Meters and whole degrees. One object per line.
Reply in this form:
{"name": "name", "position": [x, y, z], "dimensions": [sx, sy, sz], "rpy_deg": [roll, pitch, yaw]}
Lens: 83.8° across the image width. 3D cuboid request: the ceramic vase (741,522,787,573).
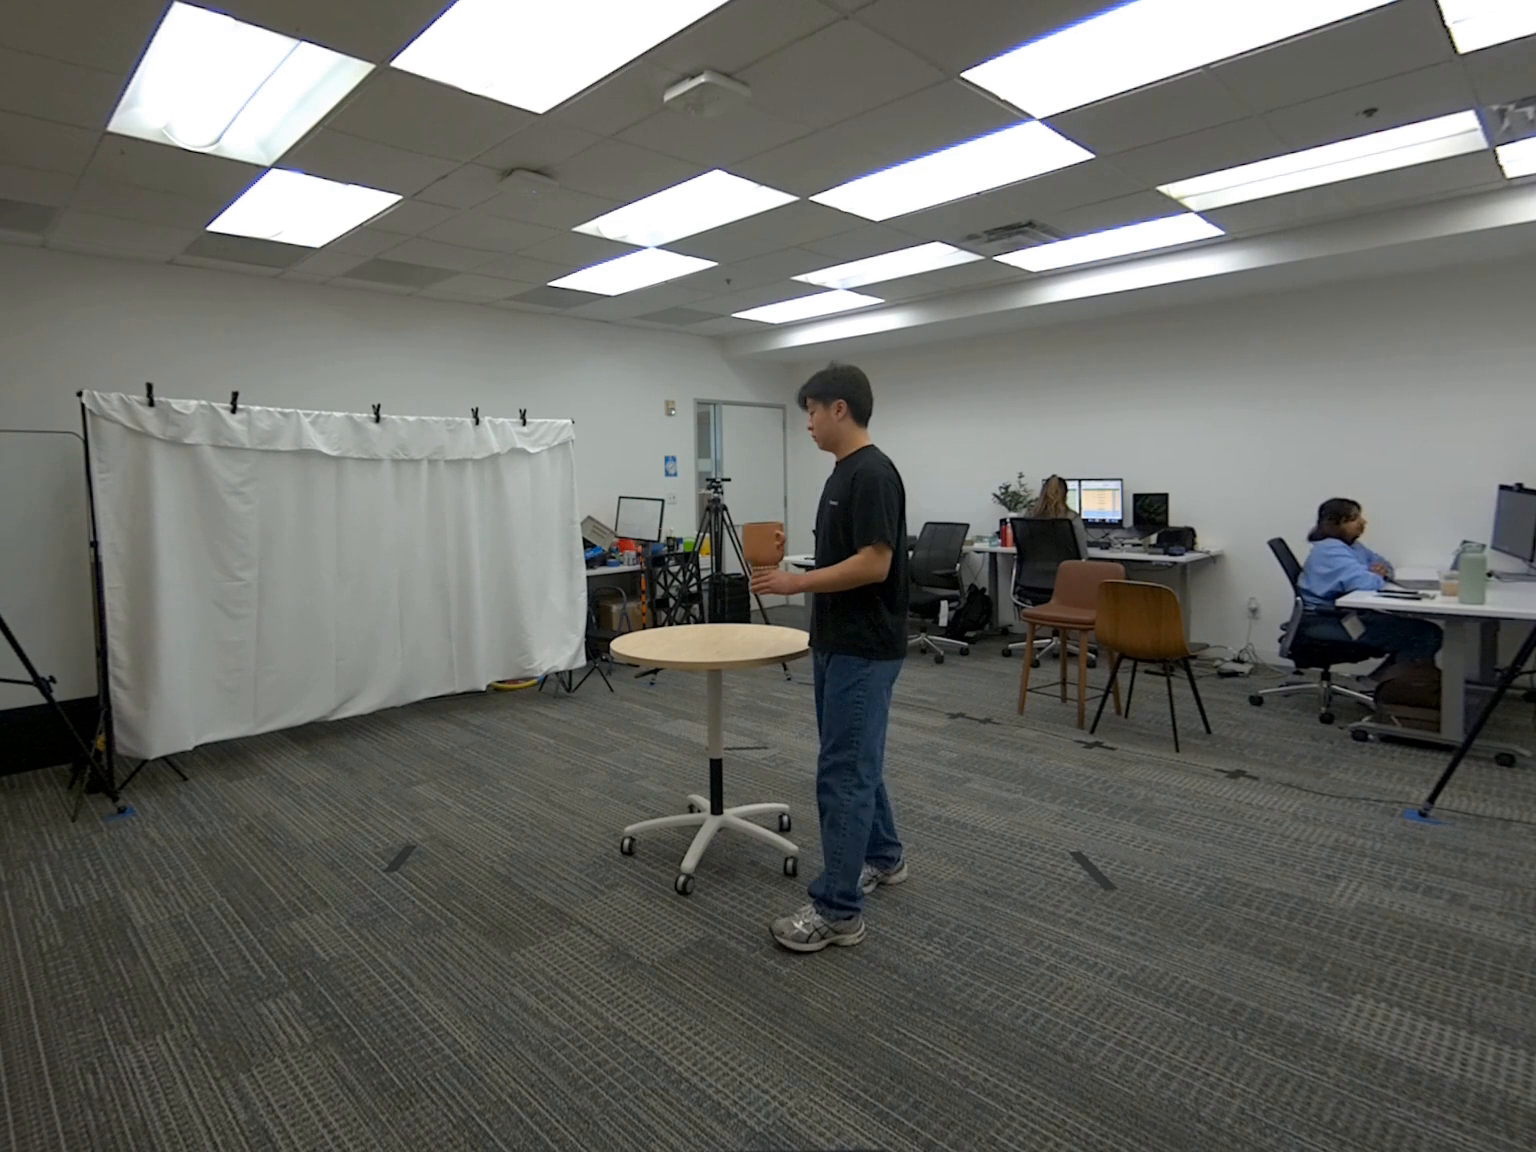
{"name": "ceramic vase", "position": [-0.006, -0.061, 2.687], "dimensions": [0.135, 0.219, 0.159], "rpy_deg": [-3, 2, 2]}
